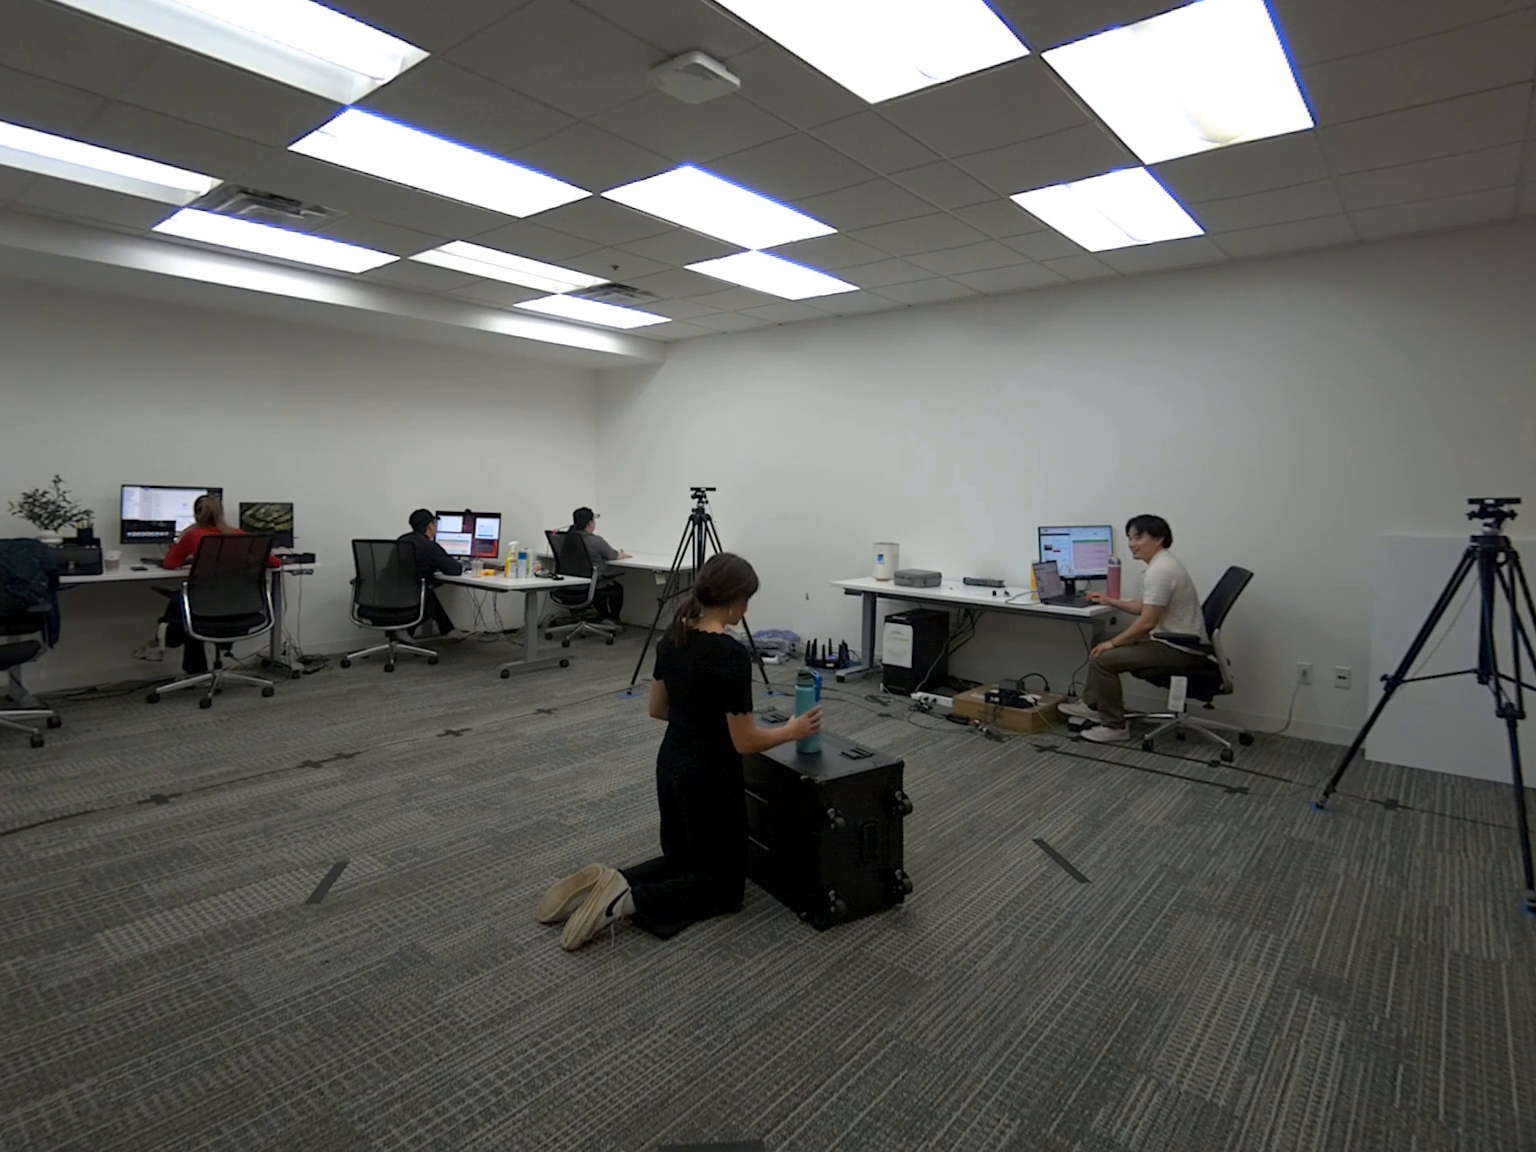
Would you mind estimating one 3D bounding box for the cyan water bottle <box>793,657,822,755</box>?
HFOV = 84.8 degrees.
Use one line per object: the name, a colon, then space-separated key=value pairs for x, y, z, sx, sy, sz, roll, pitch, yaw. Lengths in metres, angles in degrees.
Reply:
cyan water bottle: x=0.131 y=0.466 z=2.952 sx=0.092 sy=0.282 sz=0.093 roll=1 pitch=3 yaw=-2
